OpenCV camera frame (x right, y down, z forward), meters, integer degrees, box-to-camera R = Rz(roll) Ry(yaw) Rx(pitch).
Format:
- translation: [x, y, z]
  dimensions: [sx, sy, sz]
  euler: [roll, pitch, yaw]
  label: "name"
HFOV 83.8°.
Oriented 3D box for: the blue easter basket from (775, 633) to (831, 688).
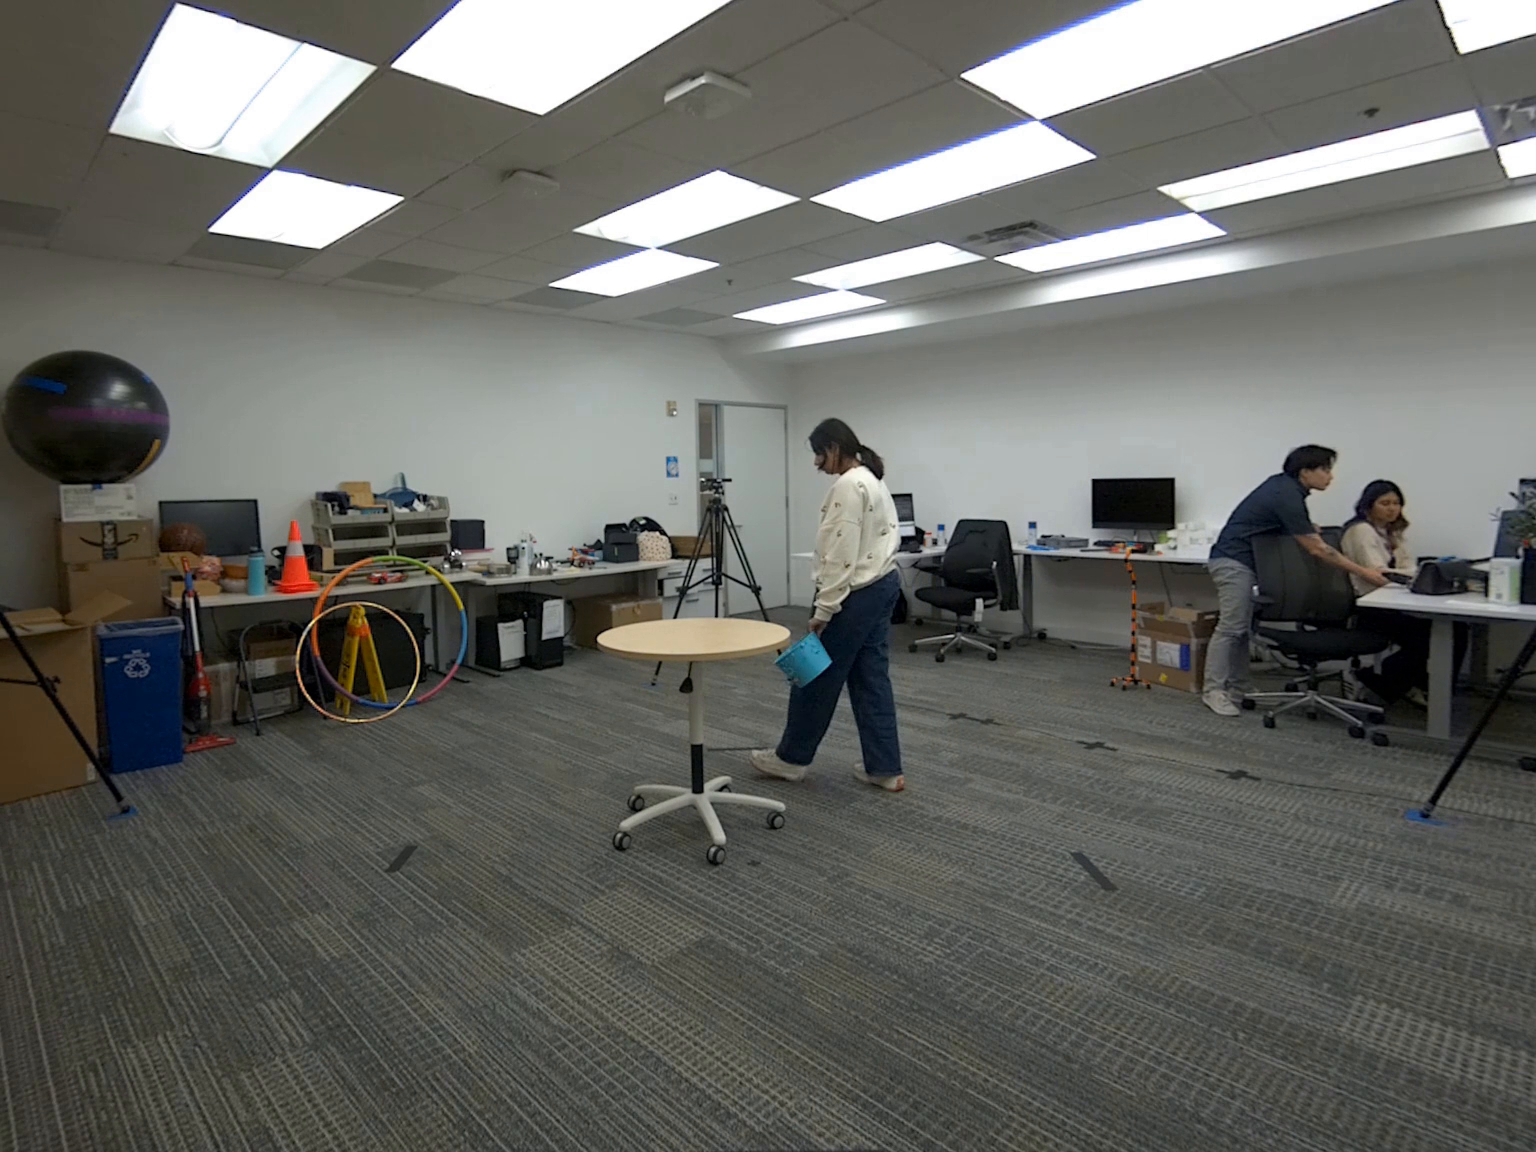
- translation: [0.155, 0.373, 3.708]
  dimensions: [0.243, 0.157, 0.242]
  euler: [-39, -4, -6]
  label: "blue easter basket"
